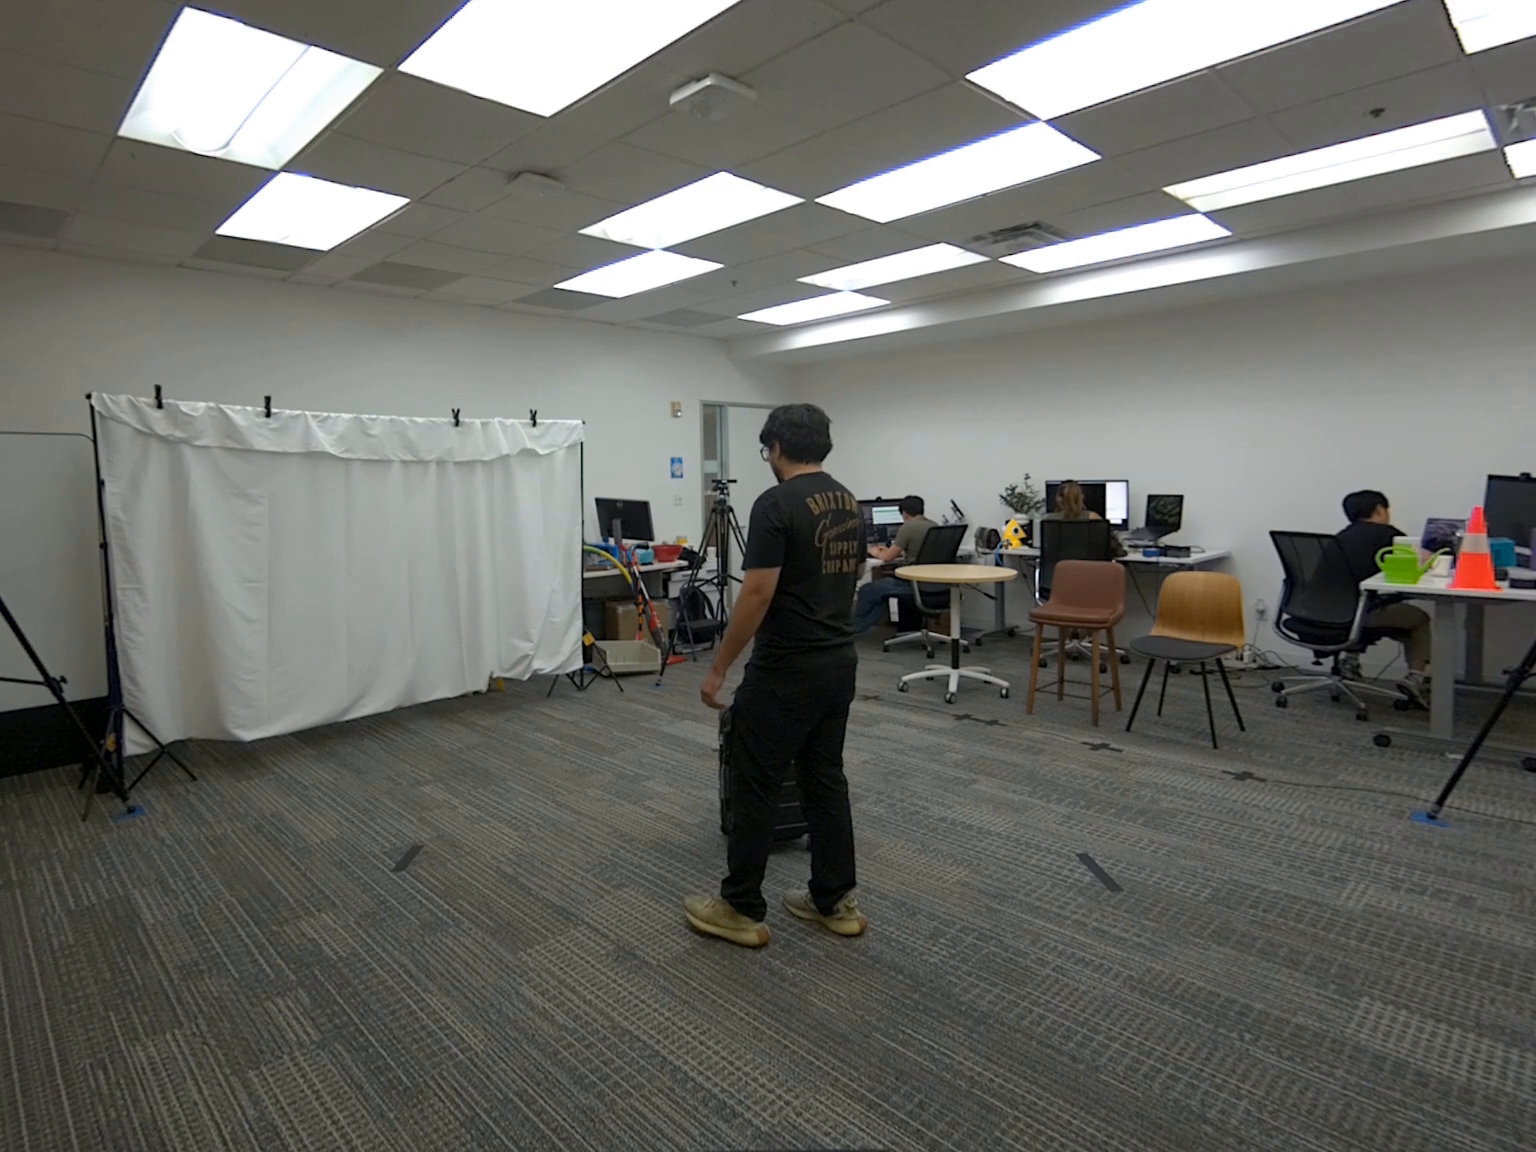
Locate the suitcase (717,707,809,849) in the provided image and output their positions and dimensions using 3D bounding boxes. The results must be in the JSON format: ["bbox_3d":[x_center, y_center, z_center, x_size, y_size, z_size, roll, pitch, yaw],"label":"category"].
[{"bbox_3d":[-0.005,0.552,3.282,0.379,0.977,0.260,-2,1,-13],"label":"suitcase"}]
